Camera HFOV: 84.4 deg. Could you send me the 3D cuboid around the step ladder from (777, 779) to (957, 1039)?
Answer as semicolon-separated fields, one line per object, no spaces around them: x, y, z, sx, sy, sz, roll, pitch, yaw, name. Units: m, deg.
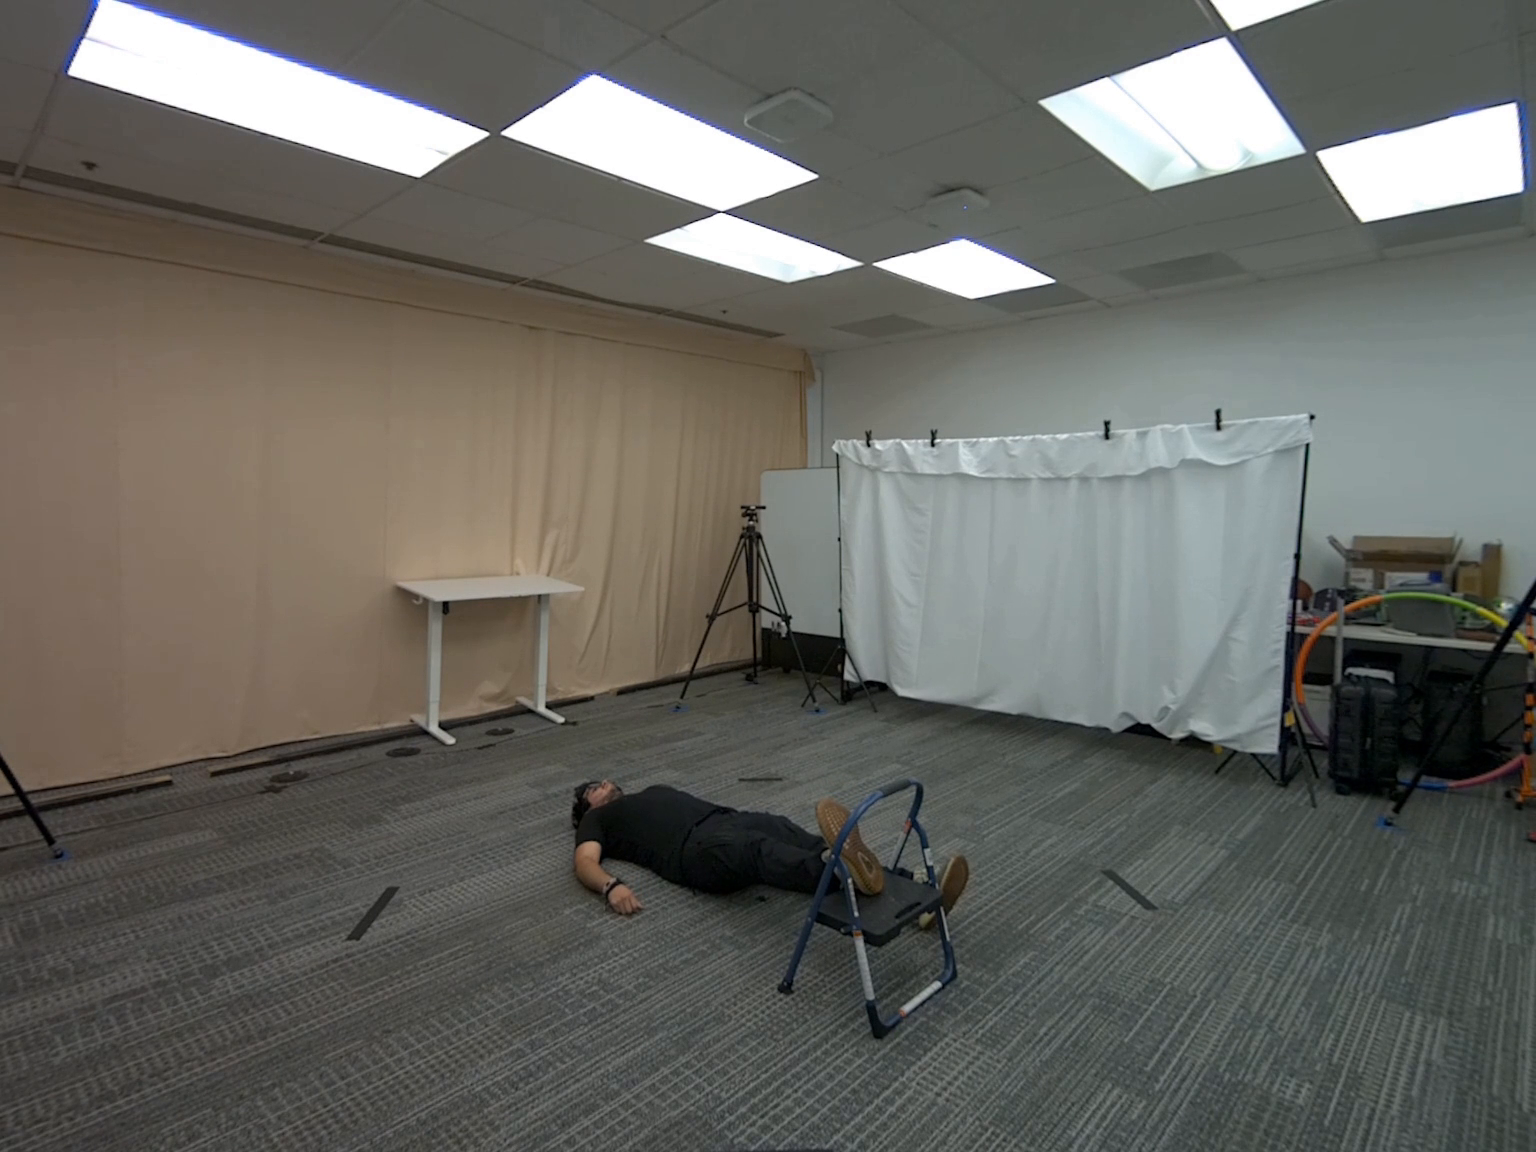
0.302;0.887;2.433;0.361;0.604;0.417;4;6;42;step ladder
